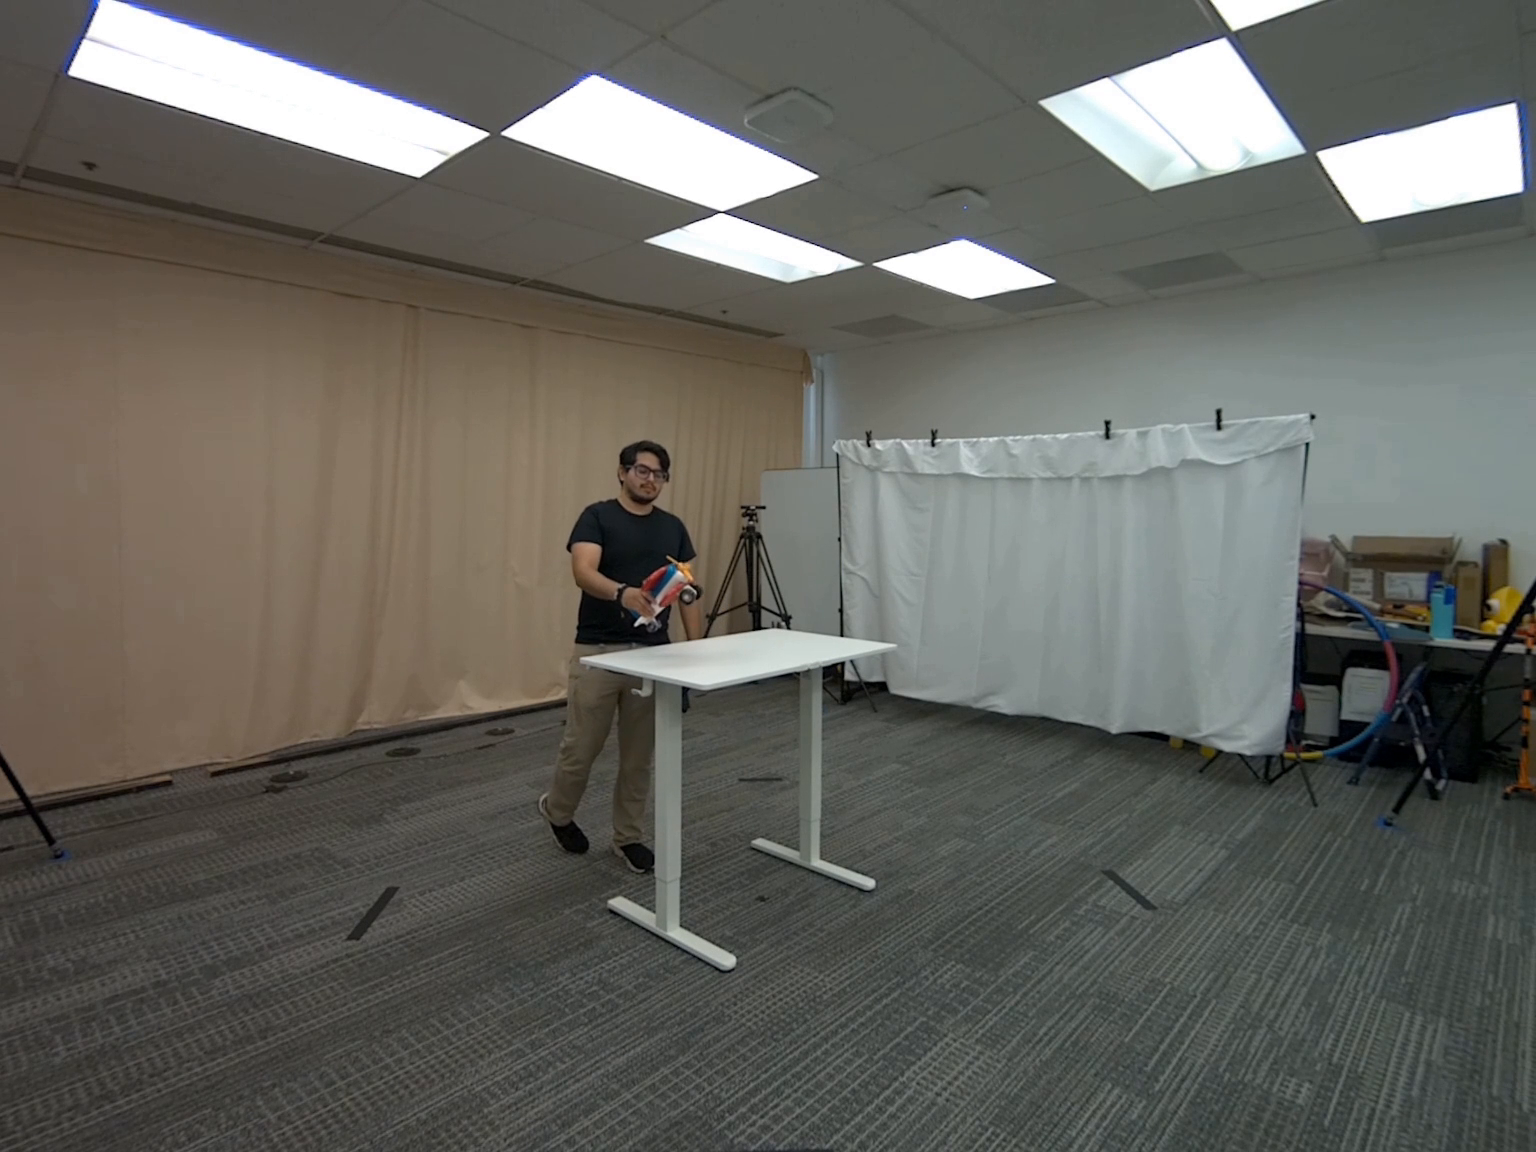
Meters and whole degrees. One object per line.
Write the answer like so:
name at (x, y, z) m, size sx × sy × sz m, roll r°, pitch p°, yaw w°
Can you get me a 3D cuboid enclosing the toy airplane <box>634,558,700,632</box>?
toy airplane at (-0.349, 0.070, 2.803) m, size 0.257 × 0.157 × 0.252 m, roll -35°, pitch -1°, yaw -16°
